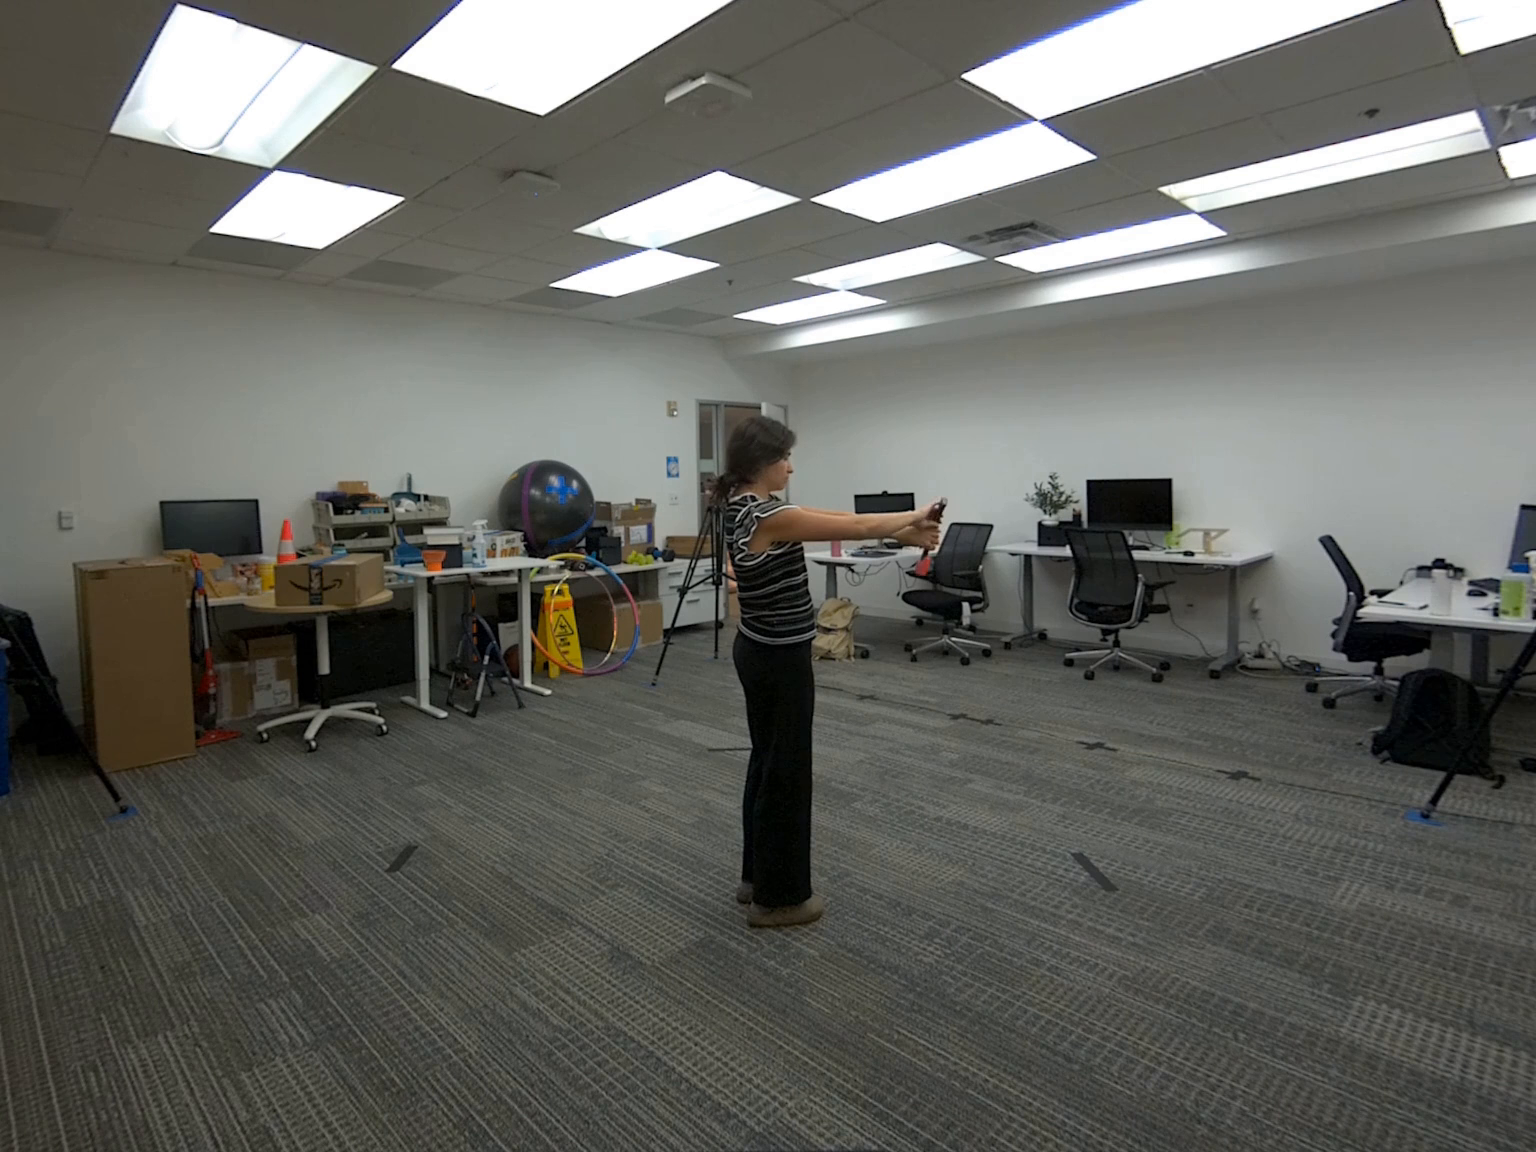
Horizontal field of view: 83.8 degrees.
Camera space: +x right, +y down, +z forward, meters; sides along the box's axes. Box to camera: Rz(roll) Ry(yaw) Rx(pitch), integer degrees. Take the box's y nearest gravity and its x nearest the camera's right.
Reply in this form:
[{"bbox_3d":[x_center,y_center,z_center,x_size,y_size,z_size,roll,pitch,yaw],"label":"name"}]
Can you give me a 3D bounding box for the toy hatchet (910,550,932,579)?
[{"bbox_3d":[0.534,-0.114,2.714,0.029,0.265,0.133,13,31,-1],"label":"toy hatchet"}]
